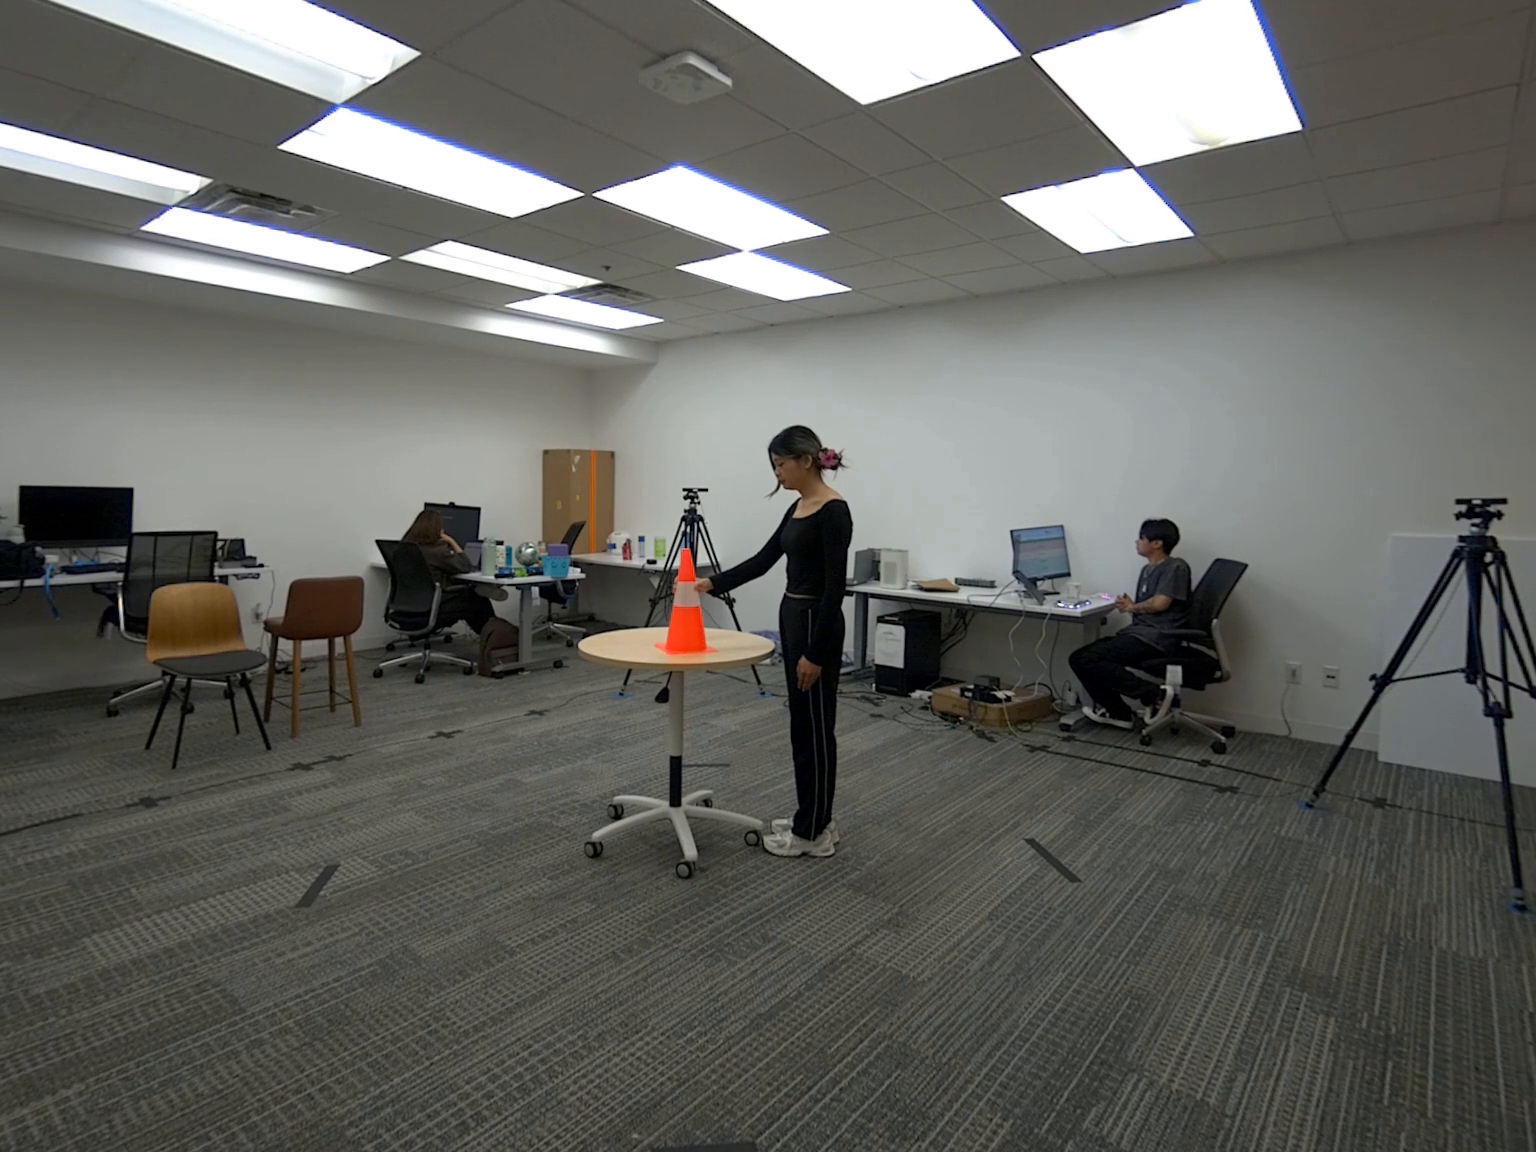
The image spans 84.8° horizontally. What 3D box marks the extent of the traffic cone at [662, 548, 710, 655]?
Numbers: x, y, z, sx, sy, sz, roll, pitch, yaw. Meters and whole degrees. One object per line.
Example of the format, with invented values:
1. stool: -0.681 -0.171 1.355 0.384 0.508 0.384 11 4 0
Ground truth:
1. traffic cone: -0.319 0.084 3.224 0.199 0.383 0.210 -1 3 -21
